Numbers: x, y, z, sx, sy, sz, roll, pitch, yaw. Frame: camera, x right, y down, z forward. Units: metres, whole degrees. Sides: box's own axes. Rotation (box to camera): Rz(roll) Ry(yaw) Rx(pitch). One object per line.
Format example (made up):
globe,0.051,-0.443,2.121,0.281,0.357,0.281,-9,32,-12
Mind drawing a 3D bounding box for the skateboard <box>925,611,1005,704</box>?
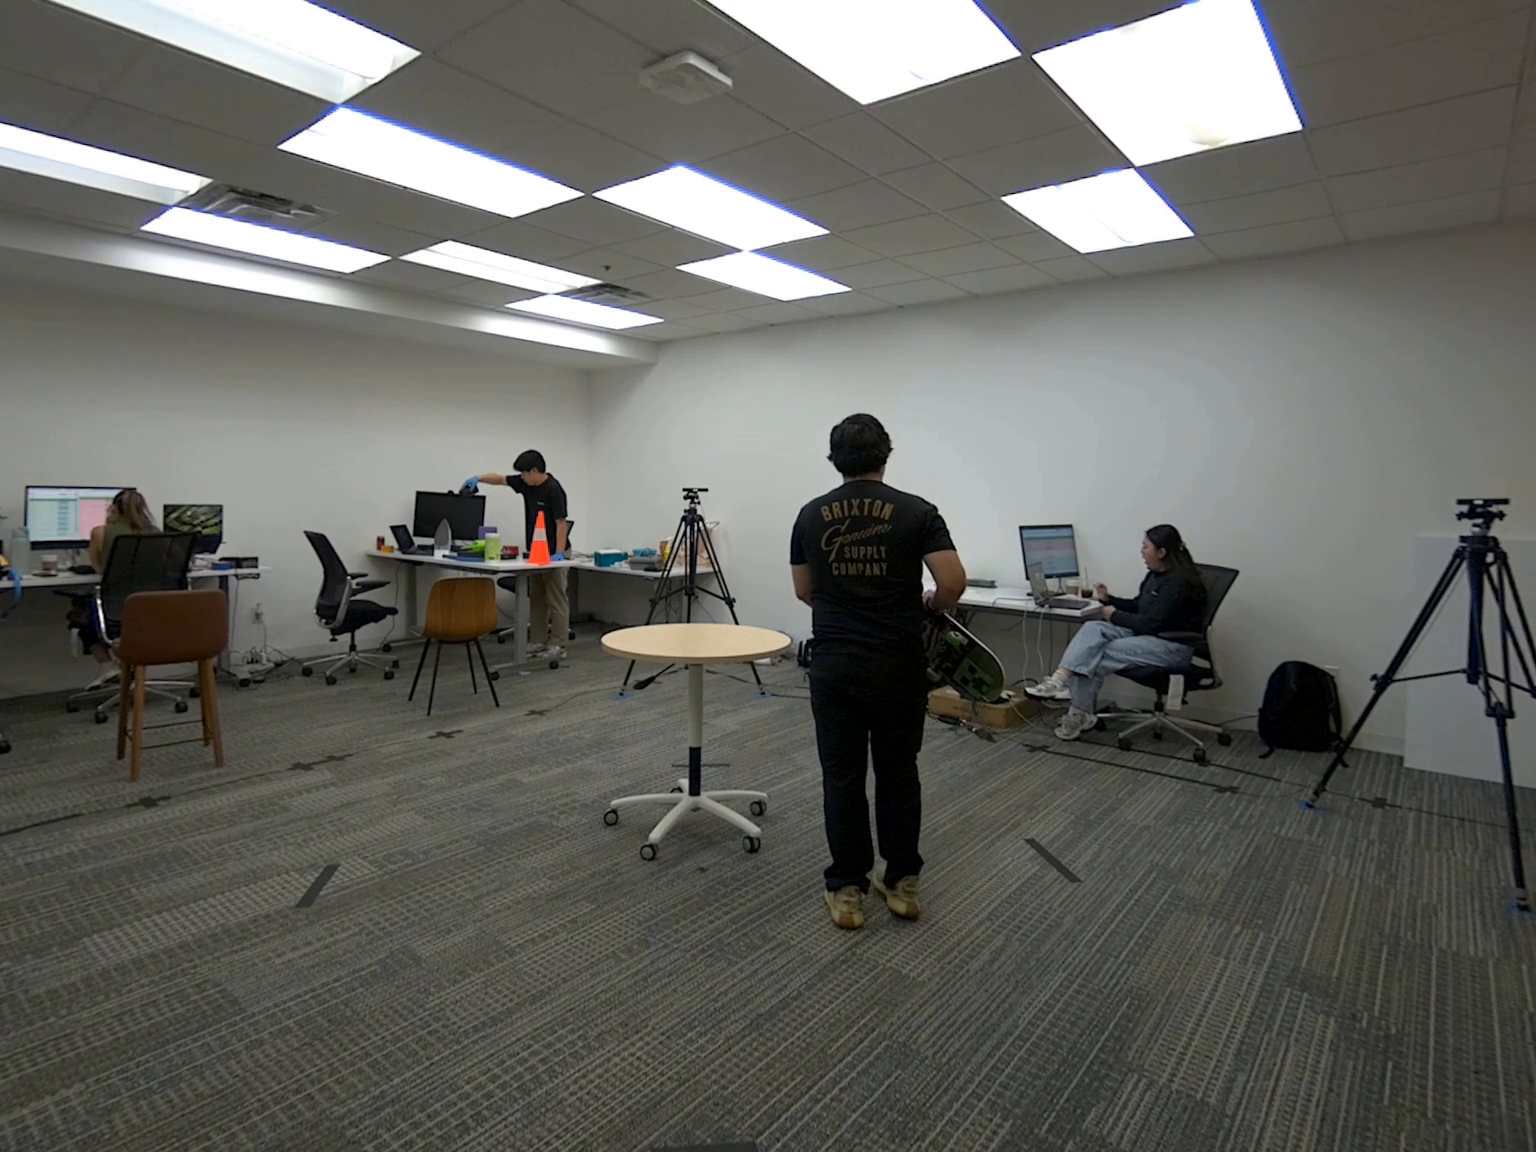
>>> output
skateboard,0.488,0.158,2.978,0.107,0.191,0.819,-3,35,-40
